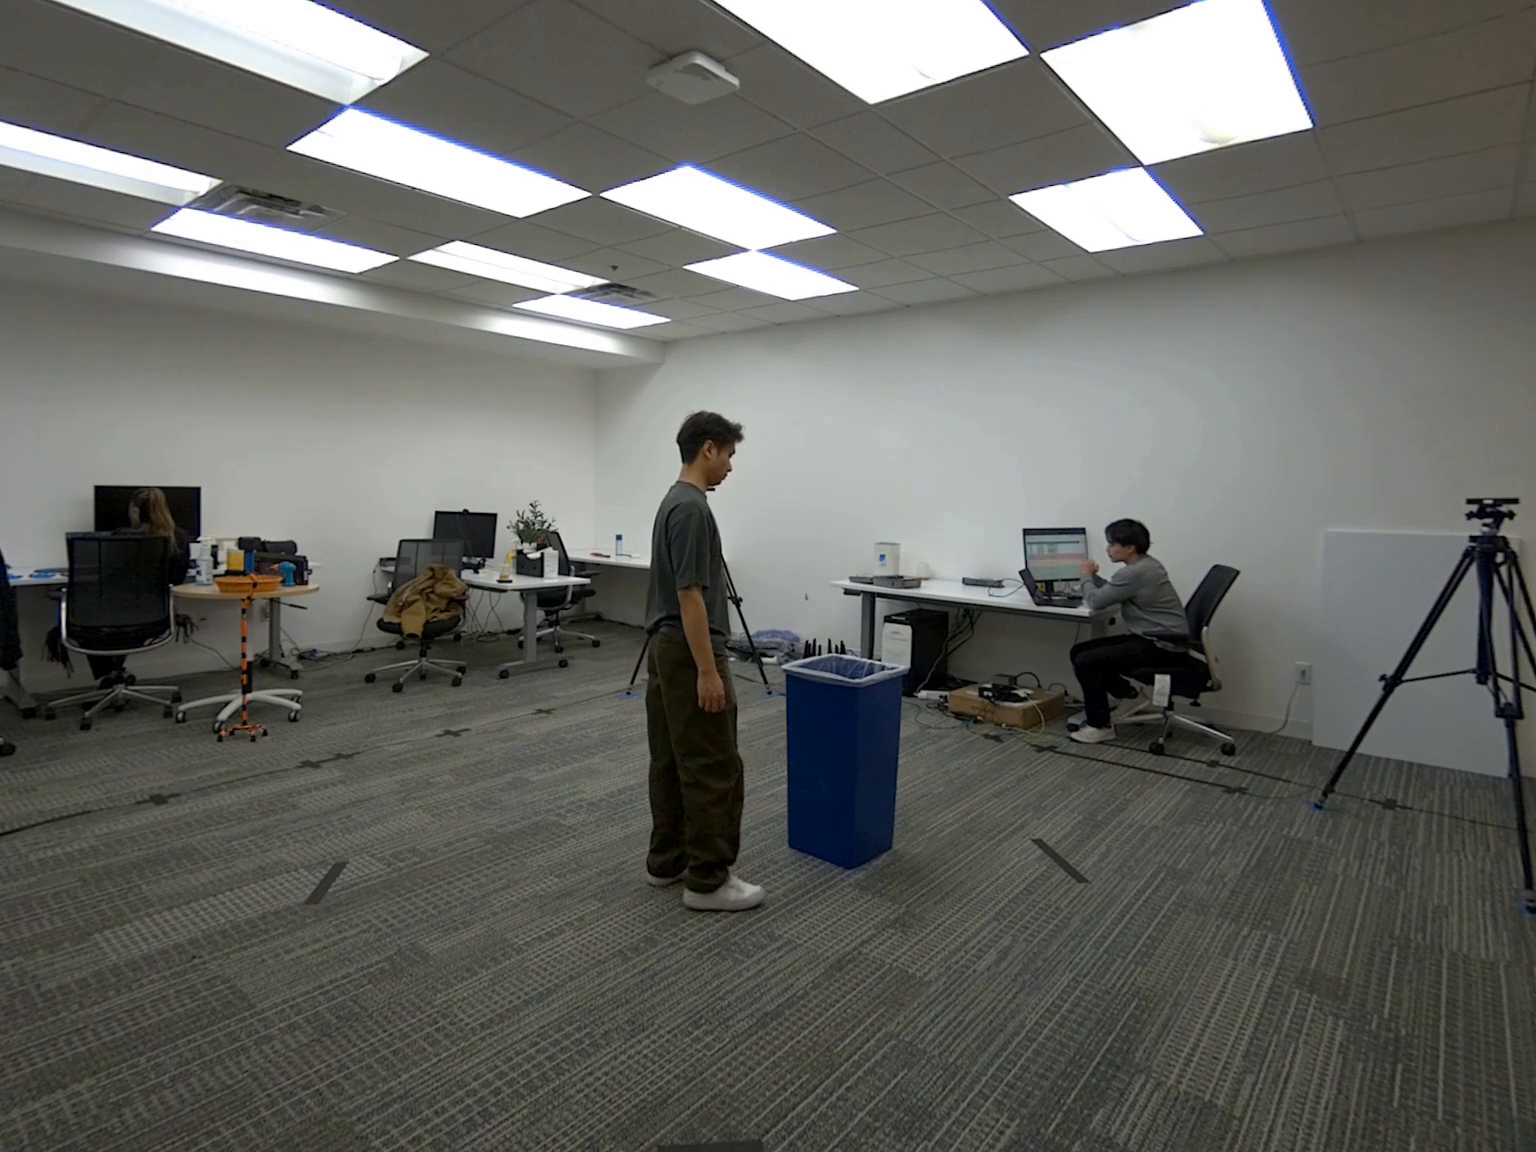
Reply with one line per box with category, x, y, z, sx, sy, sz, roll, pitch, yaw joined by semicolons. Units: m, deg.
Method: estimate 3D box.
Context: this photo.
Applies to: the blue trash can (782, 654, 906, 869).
blue trash can;0.282;0.699;3.301;0.391;0.712;0.363;4;4;39
